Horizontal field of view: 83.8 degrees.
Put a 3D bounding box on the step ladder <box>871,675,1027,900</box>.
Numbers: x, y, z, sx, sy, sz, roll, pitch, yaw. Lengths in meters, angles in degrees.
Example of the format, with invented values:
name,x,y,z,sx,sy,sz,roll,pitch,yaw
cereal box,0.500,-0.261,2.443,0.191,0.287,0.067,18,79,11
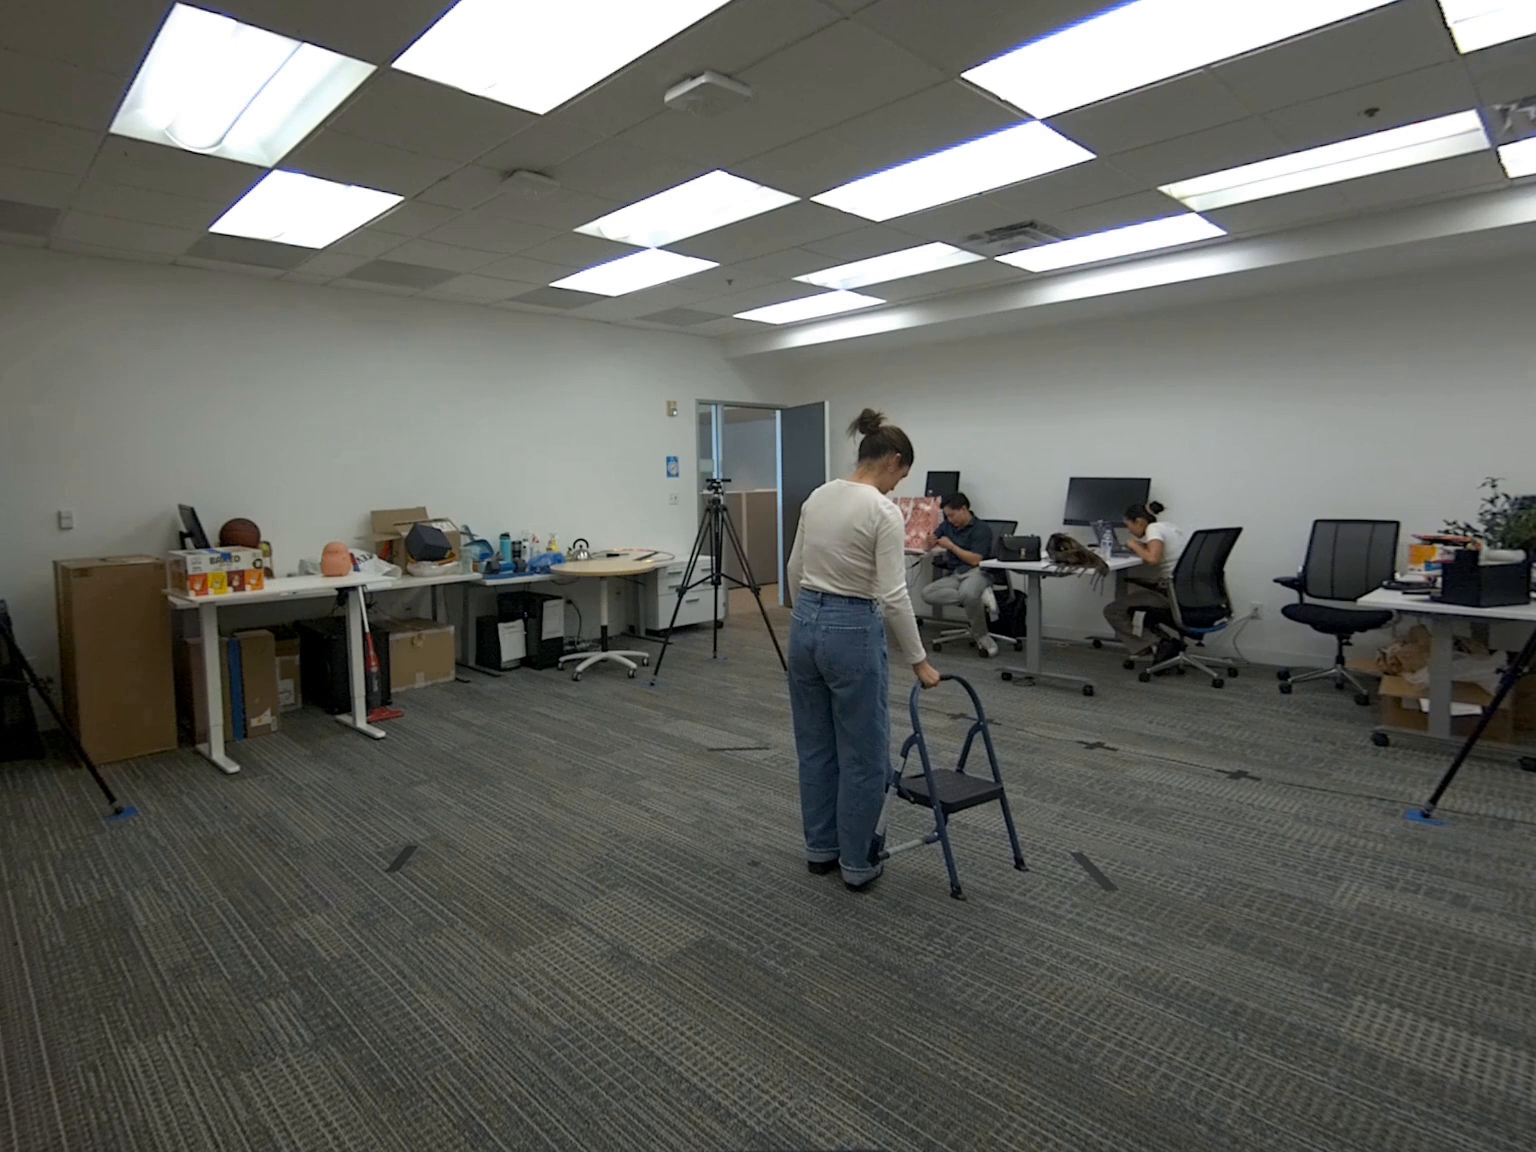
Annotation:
name,x,y,z,sx,sy,sz,roll,pitch,yaw
step ladder,0.606,0.644,2.748,0.360,0.607,0.417,4,-1,45
